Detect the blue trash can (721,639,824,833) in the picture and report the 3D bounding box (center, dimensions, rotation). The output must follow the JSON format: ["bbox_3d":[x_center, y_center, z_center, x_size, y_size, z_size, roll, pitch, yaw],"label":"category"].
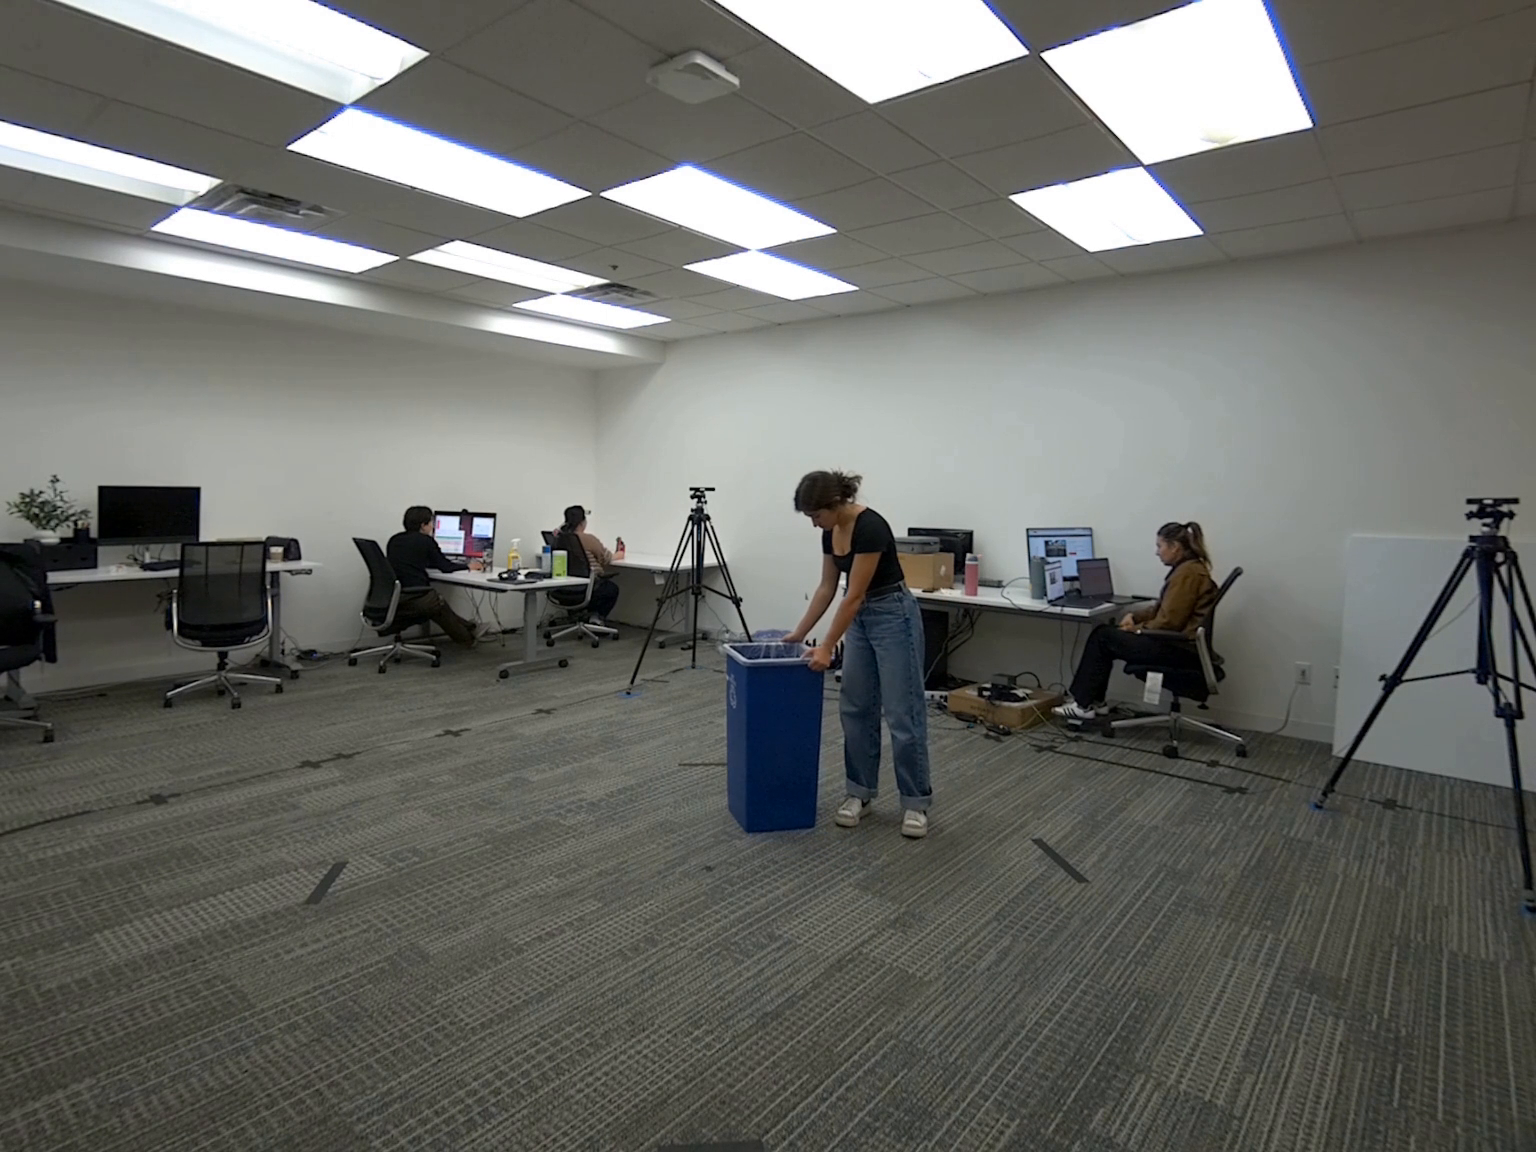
[{"bbox_3d":[0.018,0.665,3.592,0.372,0.712,0.381,0,3,-17],"label":"blue trash can"}]
